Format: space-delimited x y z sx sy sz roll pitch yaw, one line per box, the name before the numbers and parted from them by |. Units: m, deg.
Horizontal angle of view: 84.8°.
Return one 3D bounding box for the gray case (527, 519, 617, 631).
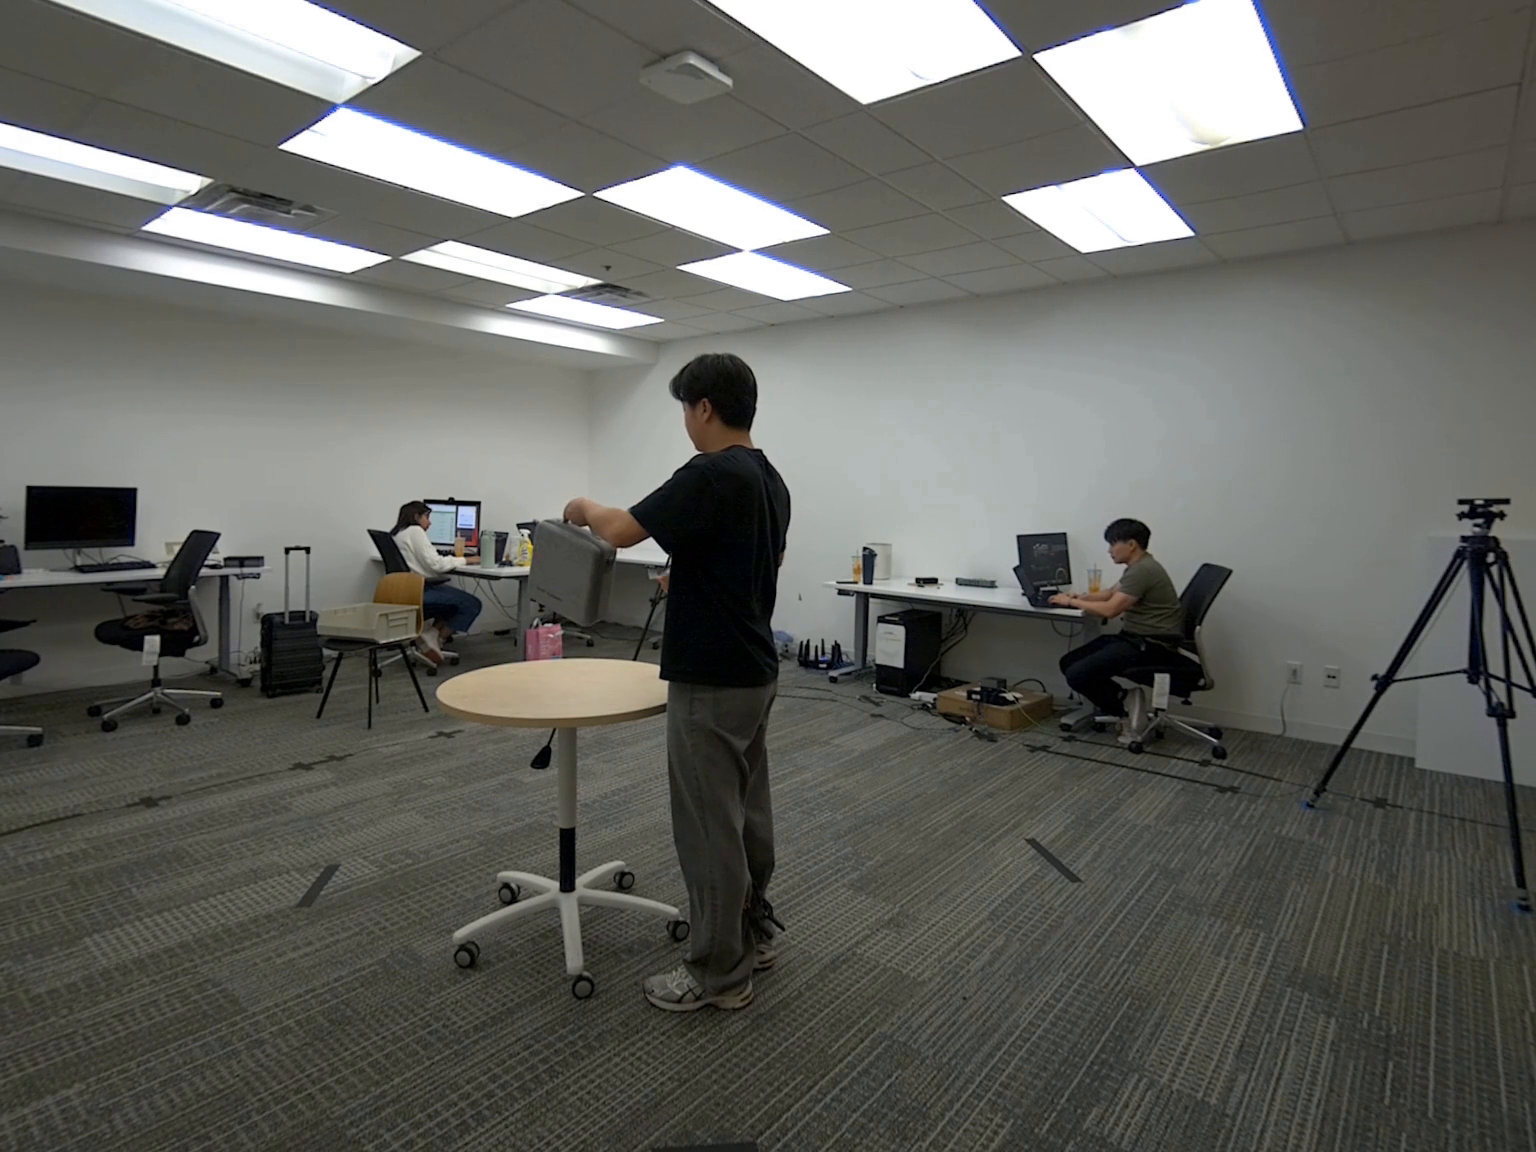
gray case | -0.571 -0.030 2.454 0.272 0.284 0.101 23 20 30
